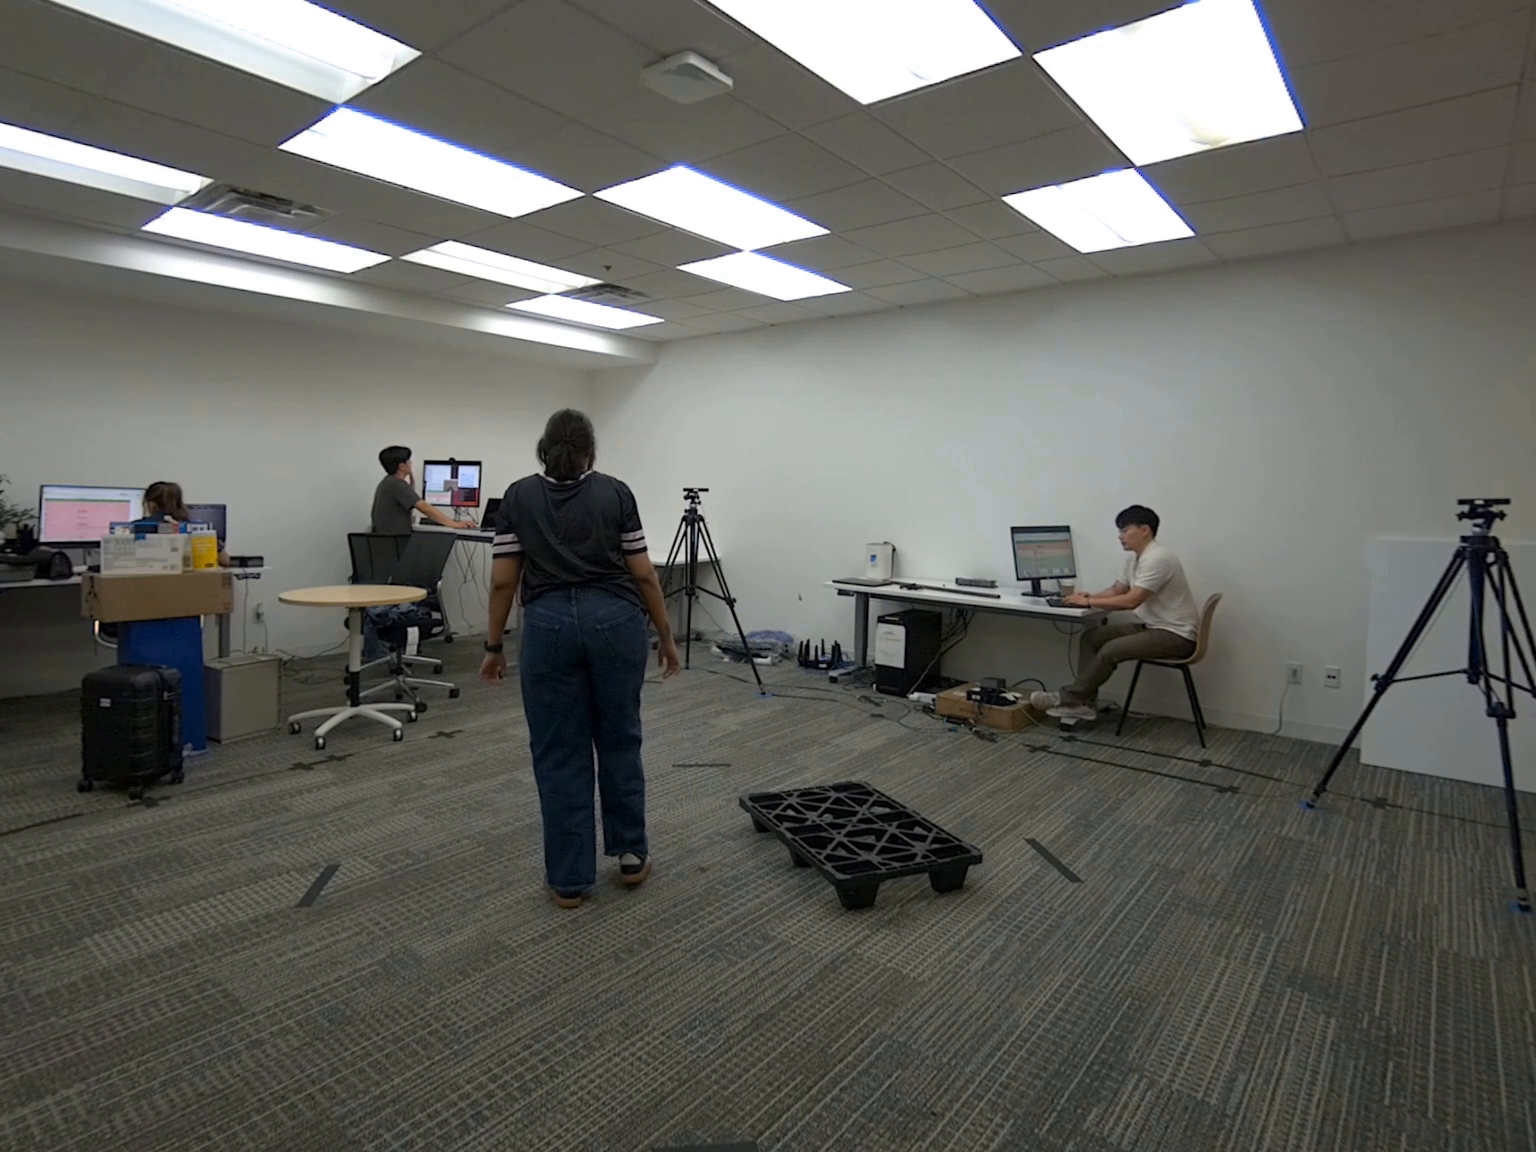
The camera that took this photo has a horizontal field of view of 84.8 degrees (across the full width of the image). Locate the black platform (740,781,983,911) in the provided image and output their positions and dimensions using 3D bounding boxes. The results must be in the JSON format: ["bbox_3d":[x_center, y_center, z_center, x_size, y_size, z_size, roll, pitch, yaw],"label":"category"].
[{"bbox_3d":[0.305,0.998,3.239,0.591,0.143,0.828,-2,6,-25],"label":"black platform"}]
